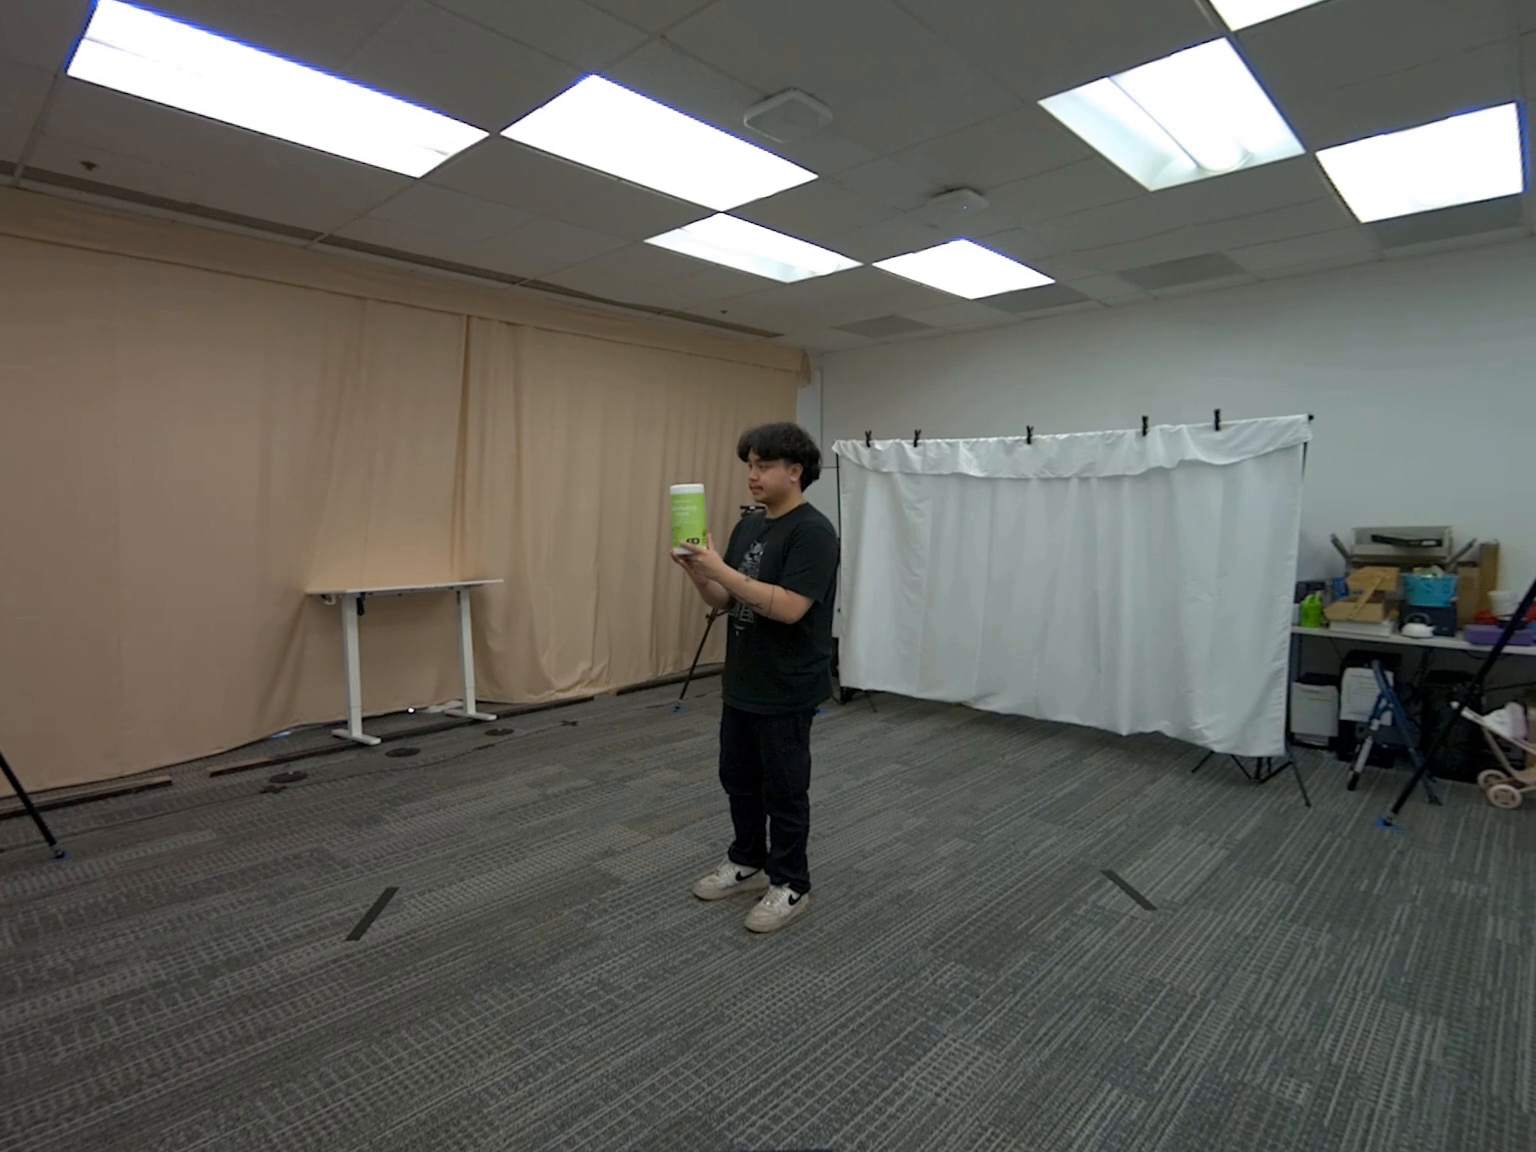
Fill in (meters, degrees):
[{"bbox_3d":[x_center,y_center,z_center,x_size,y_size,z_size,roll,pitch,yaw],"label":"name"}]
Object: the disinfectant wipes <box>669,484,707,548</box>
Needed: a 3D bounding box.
[{"bbox_3d":[-0.250,-0.175,2.645,0.118,0.217,0.118,-3,4,-2],"label":"disinfectant wipes"}]
